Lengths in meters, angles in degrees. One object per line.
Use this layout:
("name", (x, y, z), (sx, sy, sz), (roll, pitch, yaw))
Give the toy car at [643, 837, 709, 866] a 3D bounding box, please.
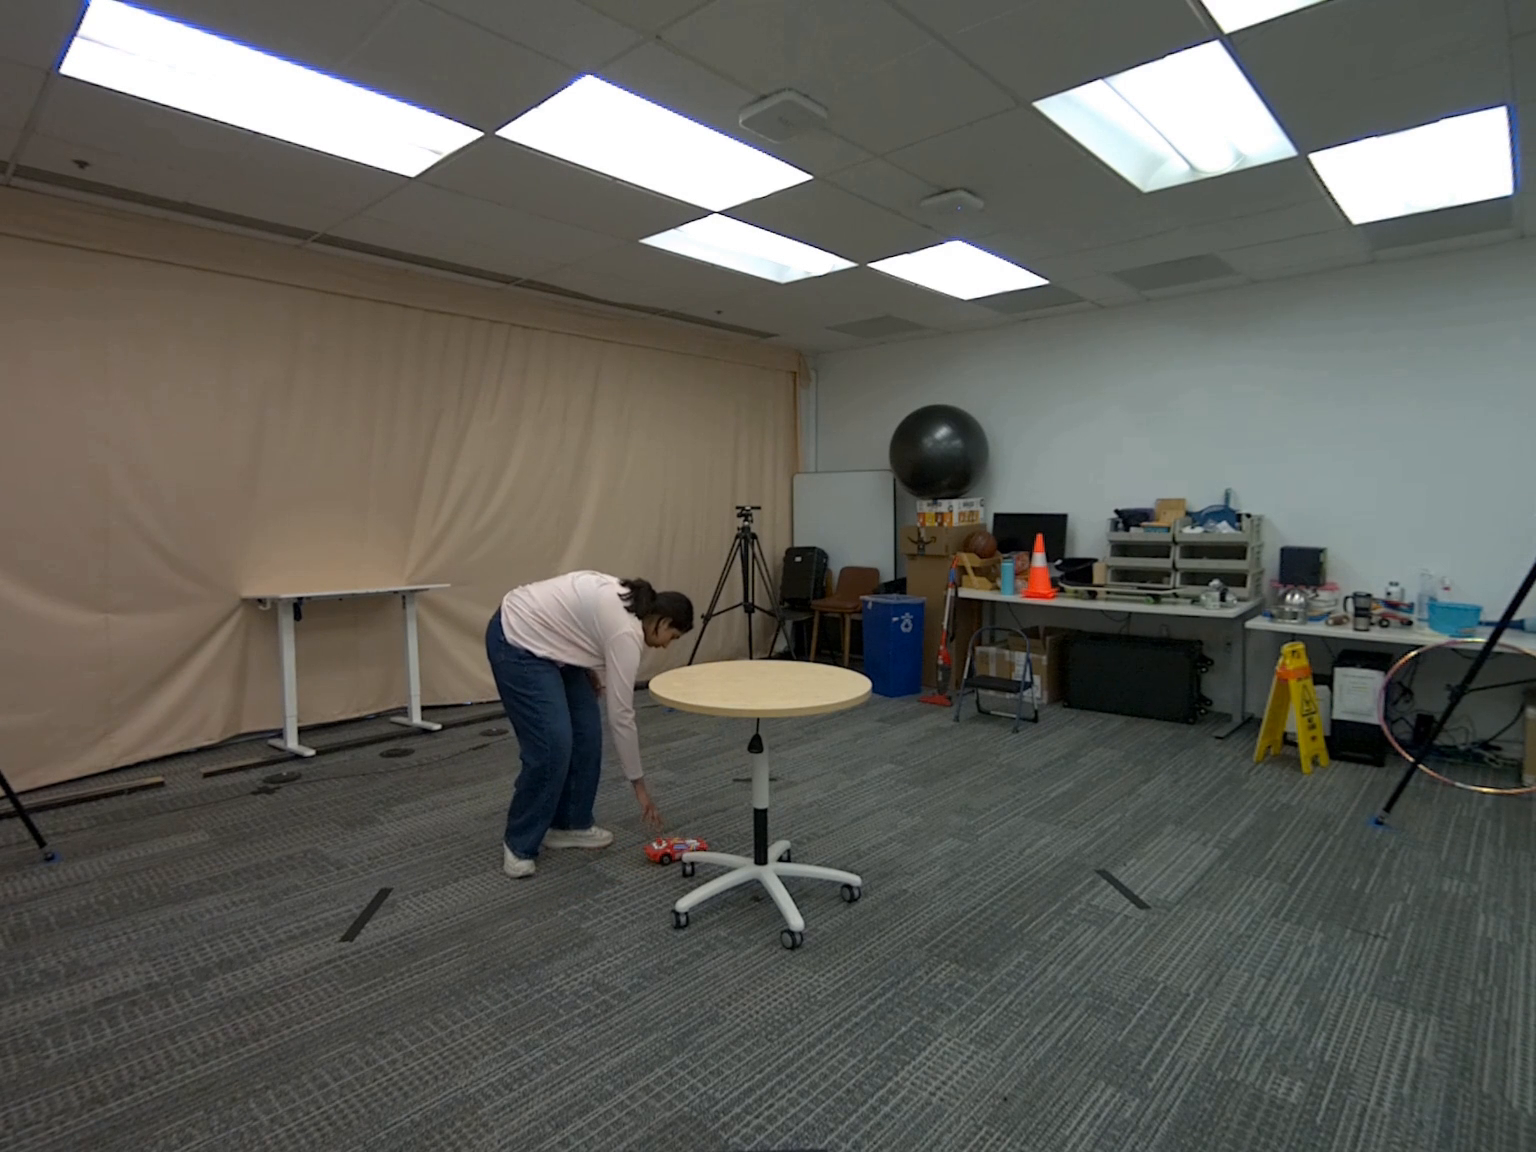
("toy car", (-0.371, 1.086, 3.323), (0.249, 0.083, 0.133), (9, 0, -19))
